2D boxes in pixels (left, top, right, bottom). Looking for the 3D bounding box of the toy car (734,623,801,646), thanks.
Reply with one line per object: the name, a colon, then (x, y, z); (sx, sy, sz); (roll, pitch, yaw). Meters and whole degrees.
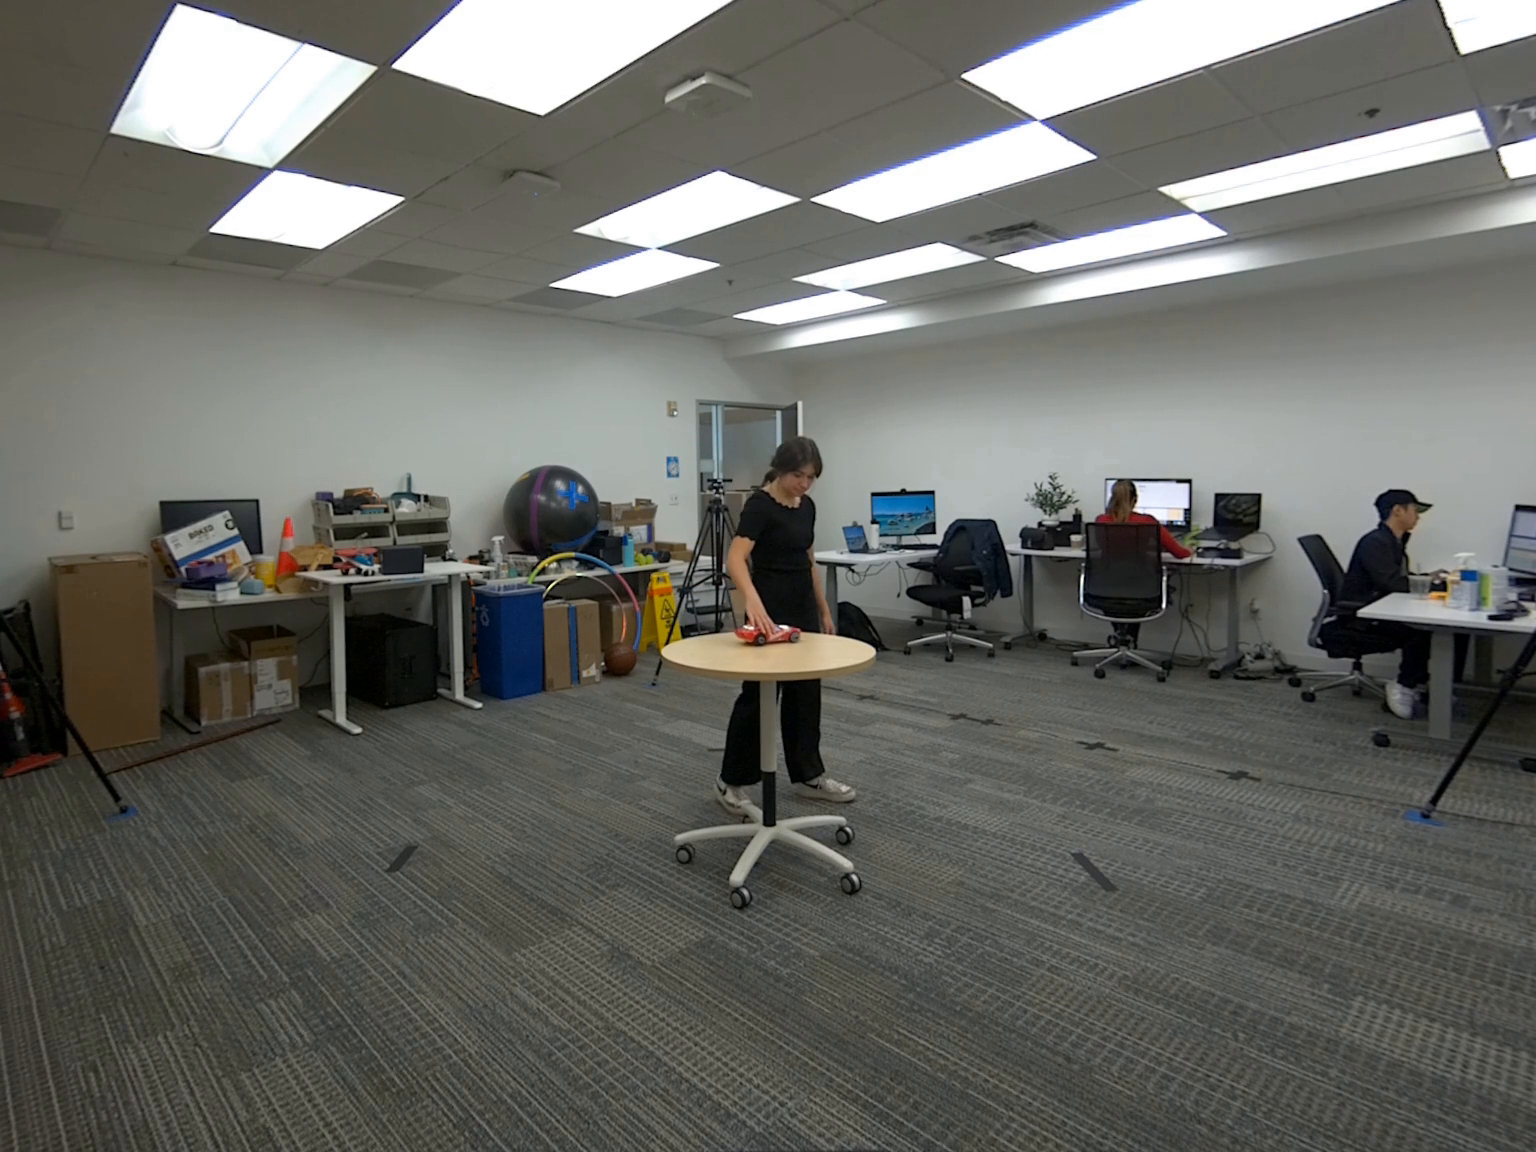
toy car: (-0.010, 0.221, 3.197); (0.248, 0.083, 0.133); (9, 0, -25)
